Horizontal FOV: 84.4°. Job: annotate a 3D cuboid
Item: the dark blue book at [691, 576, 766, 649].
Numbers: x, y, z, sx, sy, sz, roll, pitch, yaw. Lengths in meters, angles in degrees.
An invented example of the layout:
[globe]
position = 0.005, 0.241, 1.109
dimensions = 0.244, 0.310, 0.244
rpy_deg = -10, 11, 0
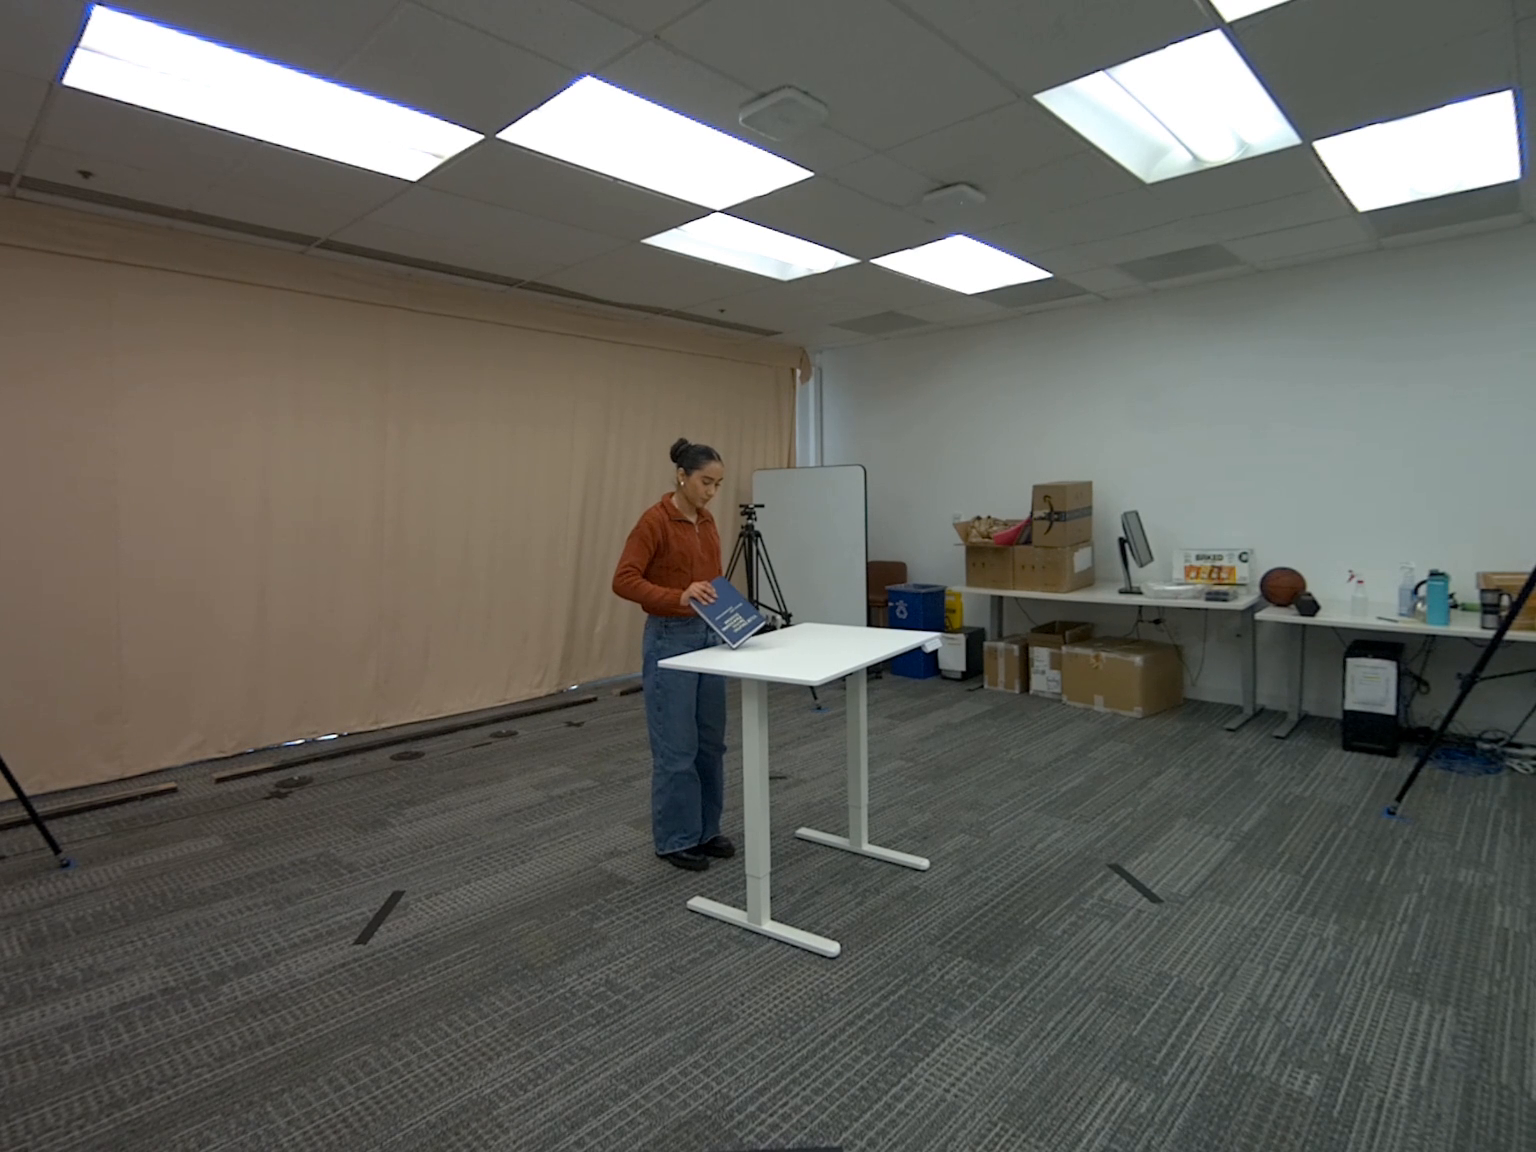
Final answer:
[dark blue book]
position = -0.142, 0.131, 3.022
dimensions = 0.162, 0.251, 0.044
rpy_deg = -38, -22, -22
